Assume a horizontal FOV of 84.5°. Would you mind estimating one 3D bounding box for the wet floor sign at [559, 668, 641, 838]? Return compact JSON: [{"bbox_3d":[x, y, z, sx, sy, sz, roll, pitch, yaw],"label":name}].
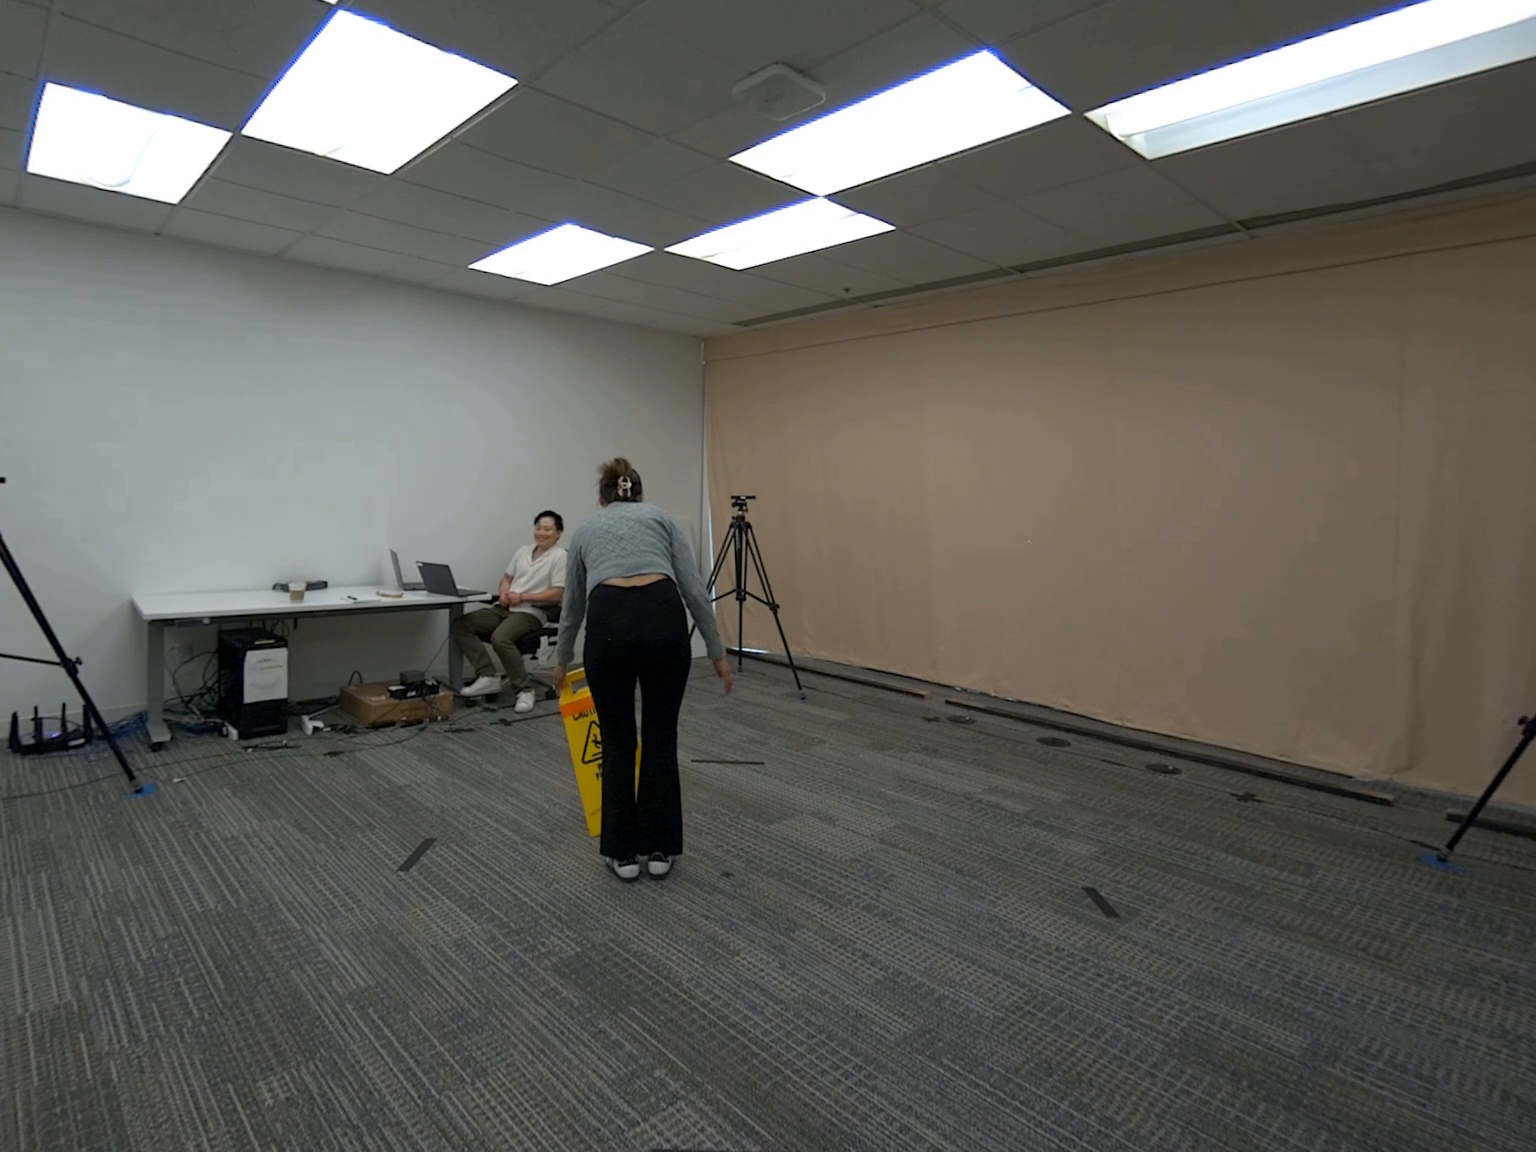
[{"bbox_3d":[-0.683,0.701,3.548,0.283,0.646,0.289,-18,1,6],"label":"wet floor sign"}]
